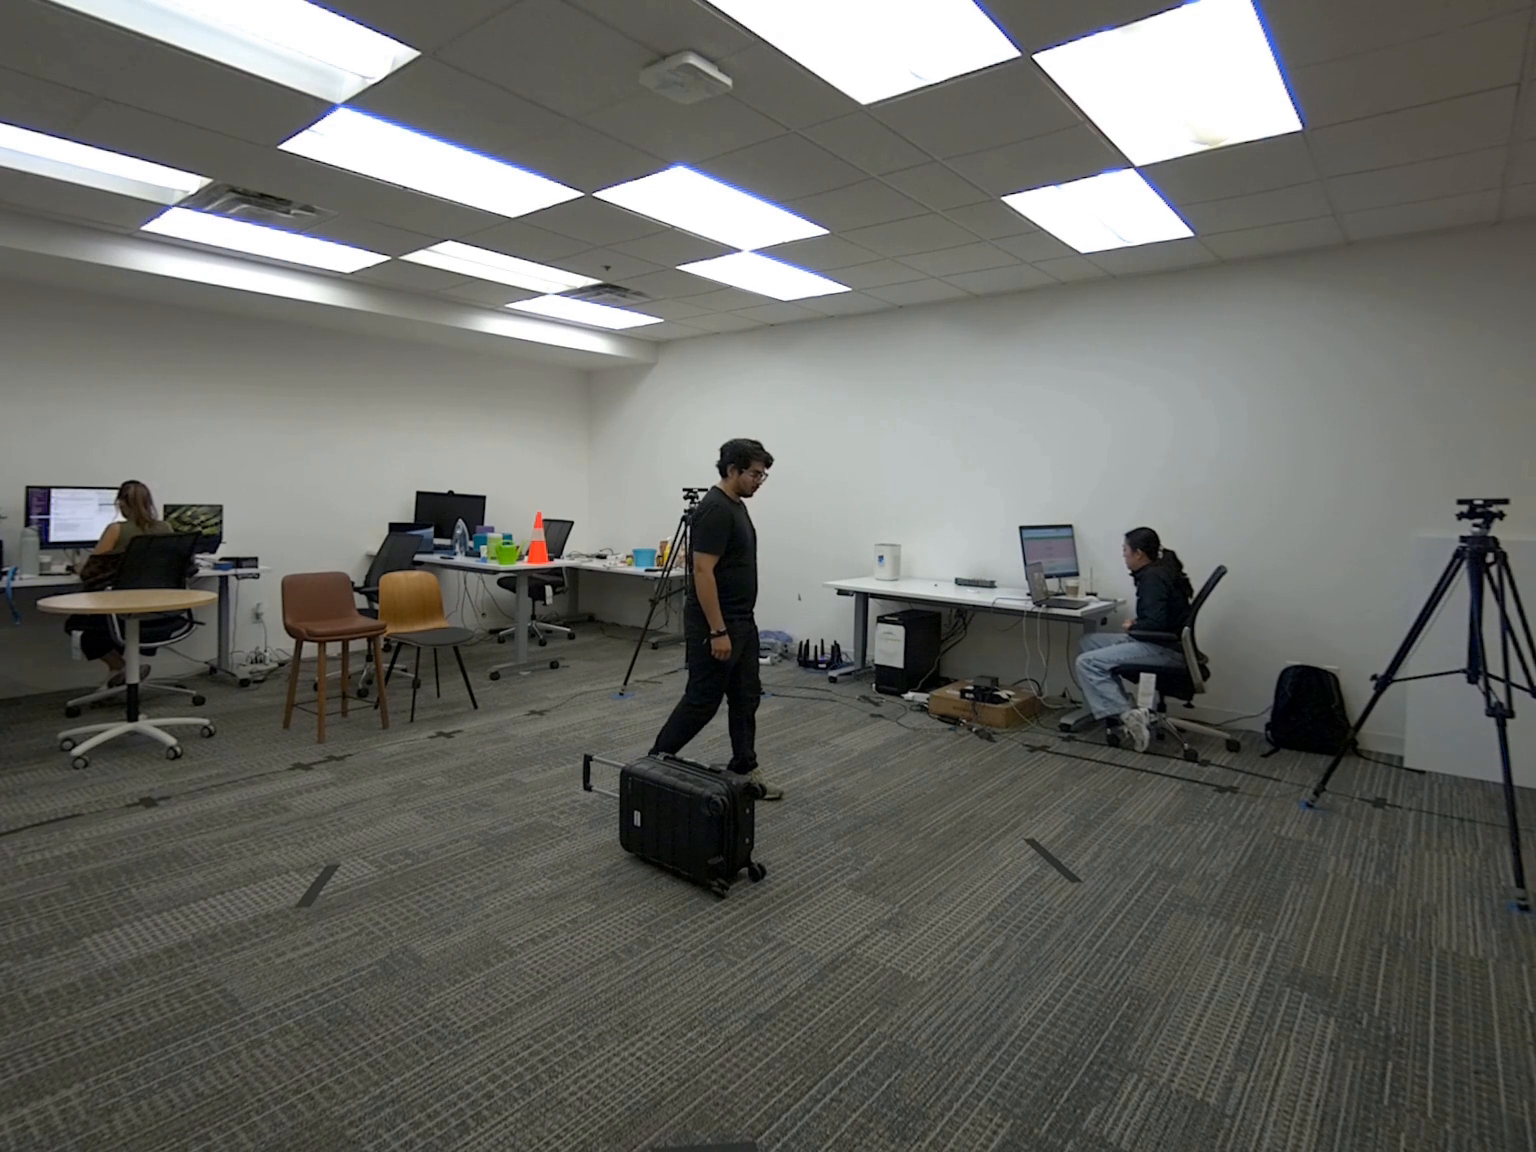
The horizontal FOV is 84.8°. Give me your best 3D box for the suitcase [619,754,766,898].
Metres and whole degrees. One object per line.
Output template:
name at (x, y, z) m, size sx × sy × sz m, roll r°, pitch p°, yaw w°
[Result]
suitcase at (-0.474, 0.865, 3.253) m, size 1.011 × 0.383 × 0.249 m, roll 4°, pitch 5°, yaw 39°
